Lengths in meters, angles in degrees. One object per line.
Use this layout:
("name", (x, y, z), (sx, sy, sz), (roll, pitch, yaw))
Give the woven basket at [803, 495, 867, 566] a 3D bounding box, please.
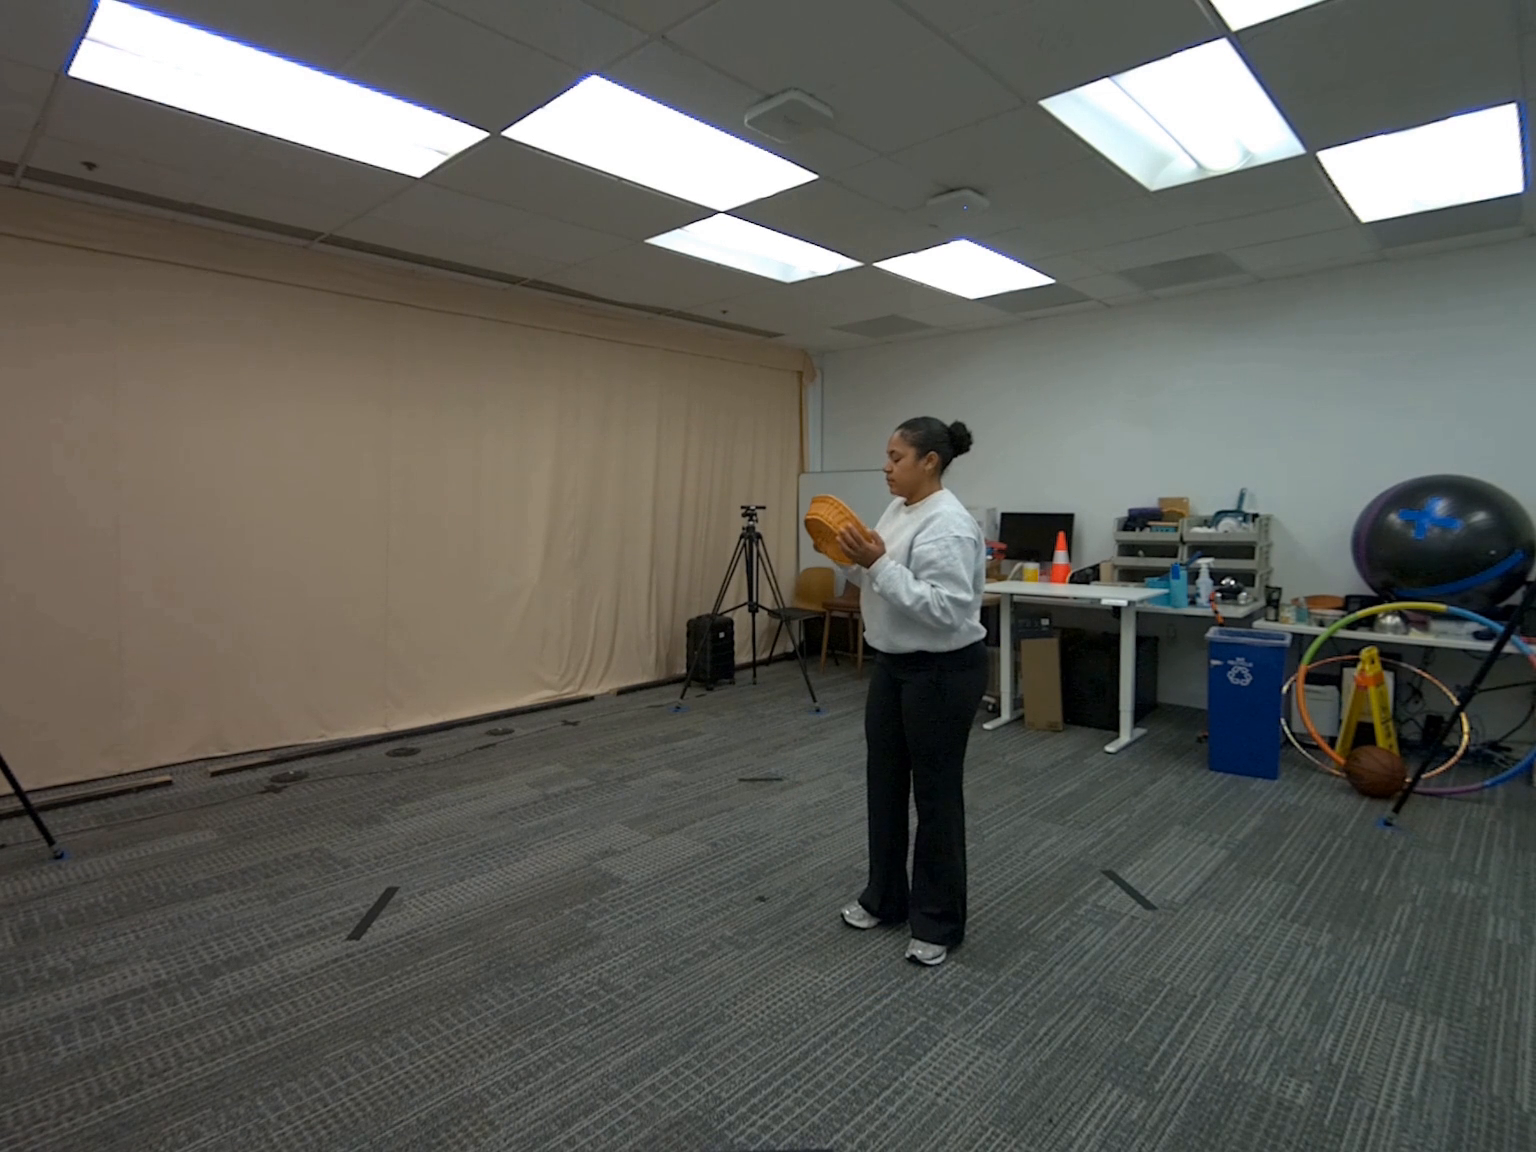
("woven basket", (0.212, -0.122, 2.568), (0.073, 0.250, 0.355), (-36, 8, -11))
